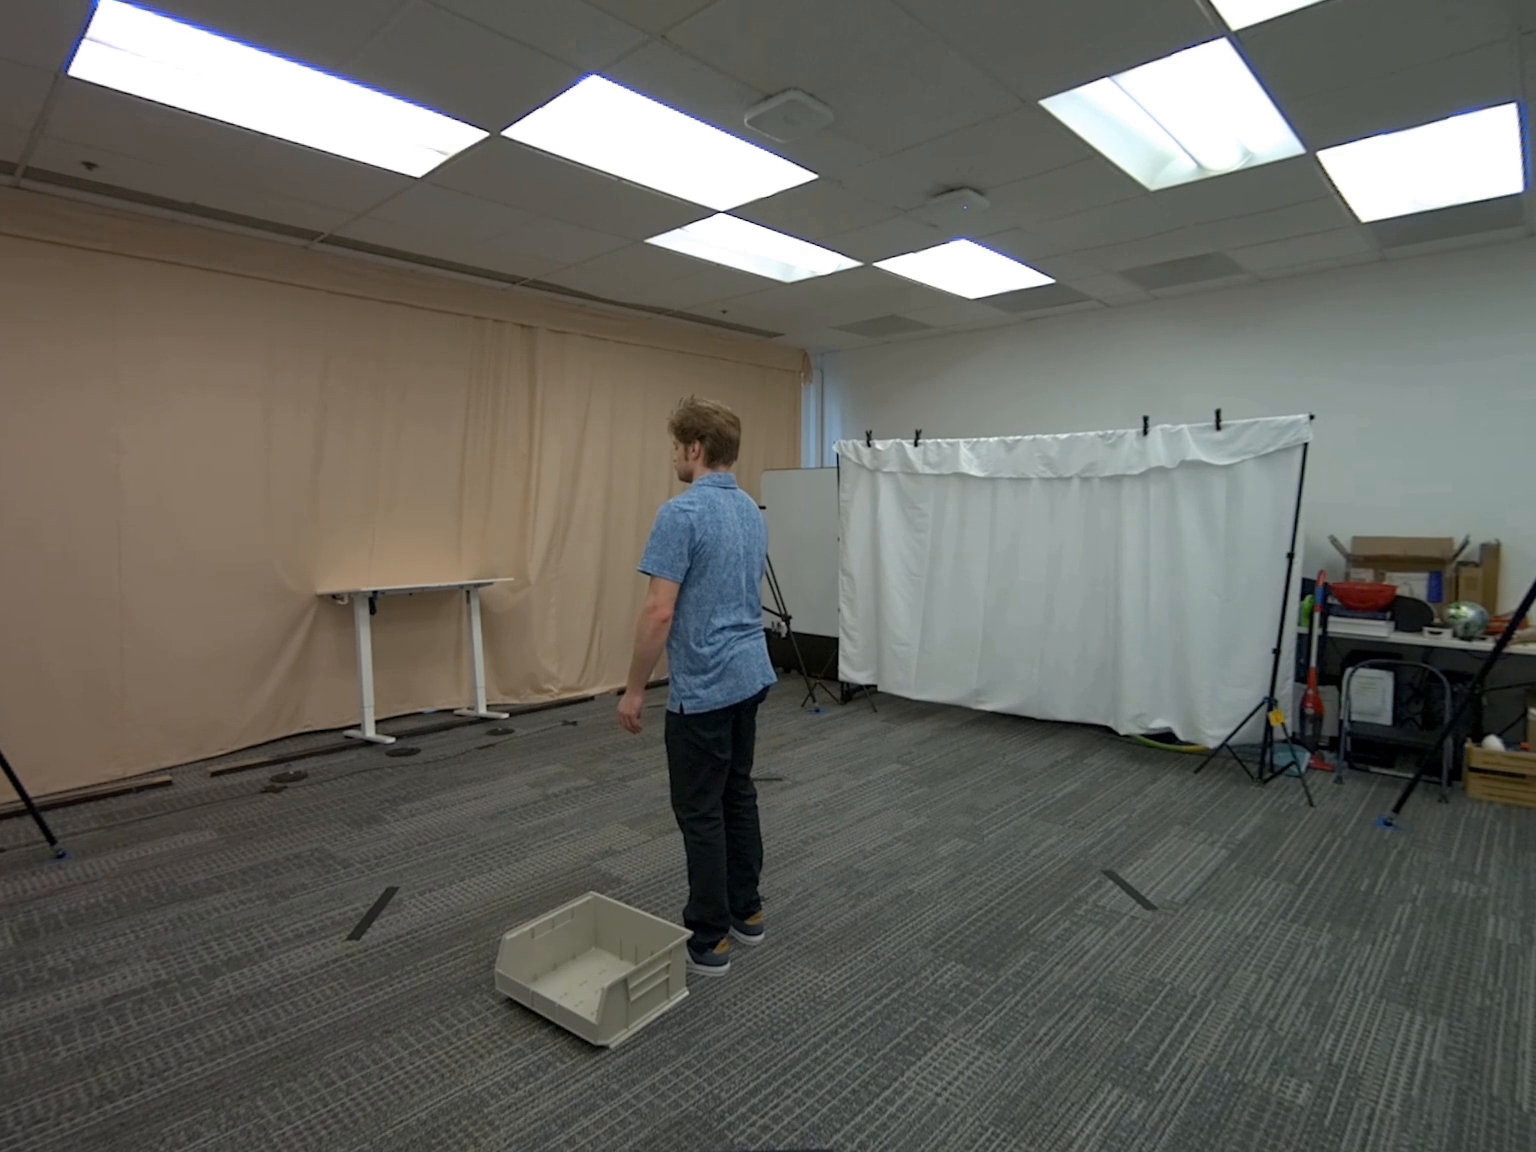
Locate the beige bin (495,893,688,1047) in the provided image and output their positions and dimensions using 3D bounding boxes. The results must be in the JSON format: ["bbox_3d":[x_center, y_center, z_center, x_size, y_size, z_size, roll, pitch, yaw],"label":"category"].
[{"bbox_3d":[-0.493,1.106,2.386,0.436,0.188,0.366,3,4,37],"label":"beige bin"}]
